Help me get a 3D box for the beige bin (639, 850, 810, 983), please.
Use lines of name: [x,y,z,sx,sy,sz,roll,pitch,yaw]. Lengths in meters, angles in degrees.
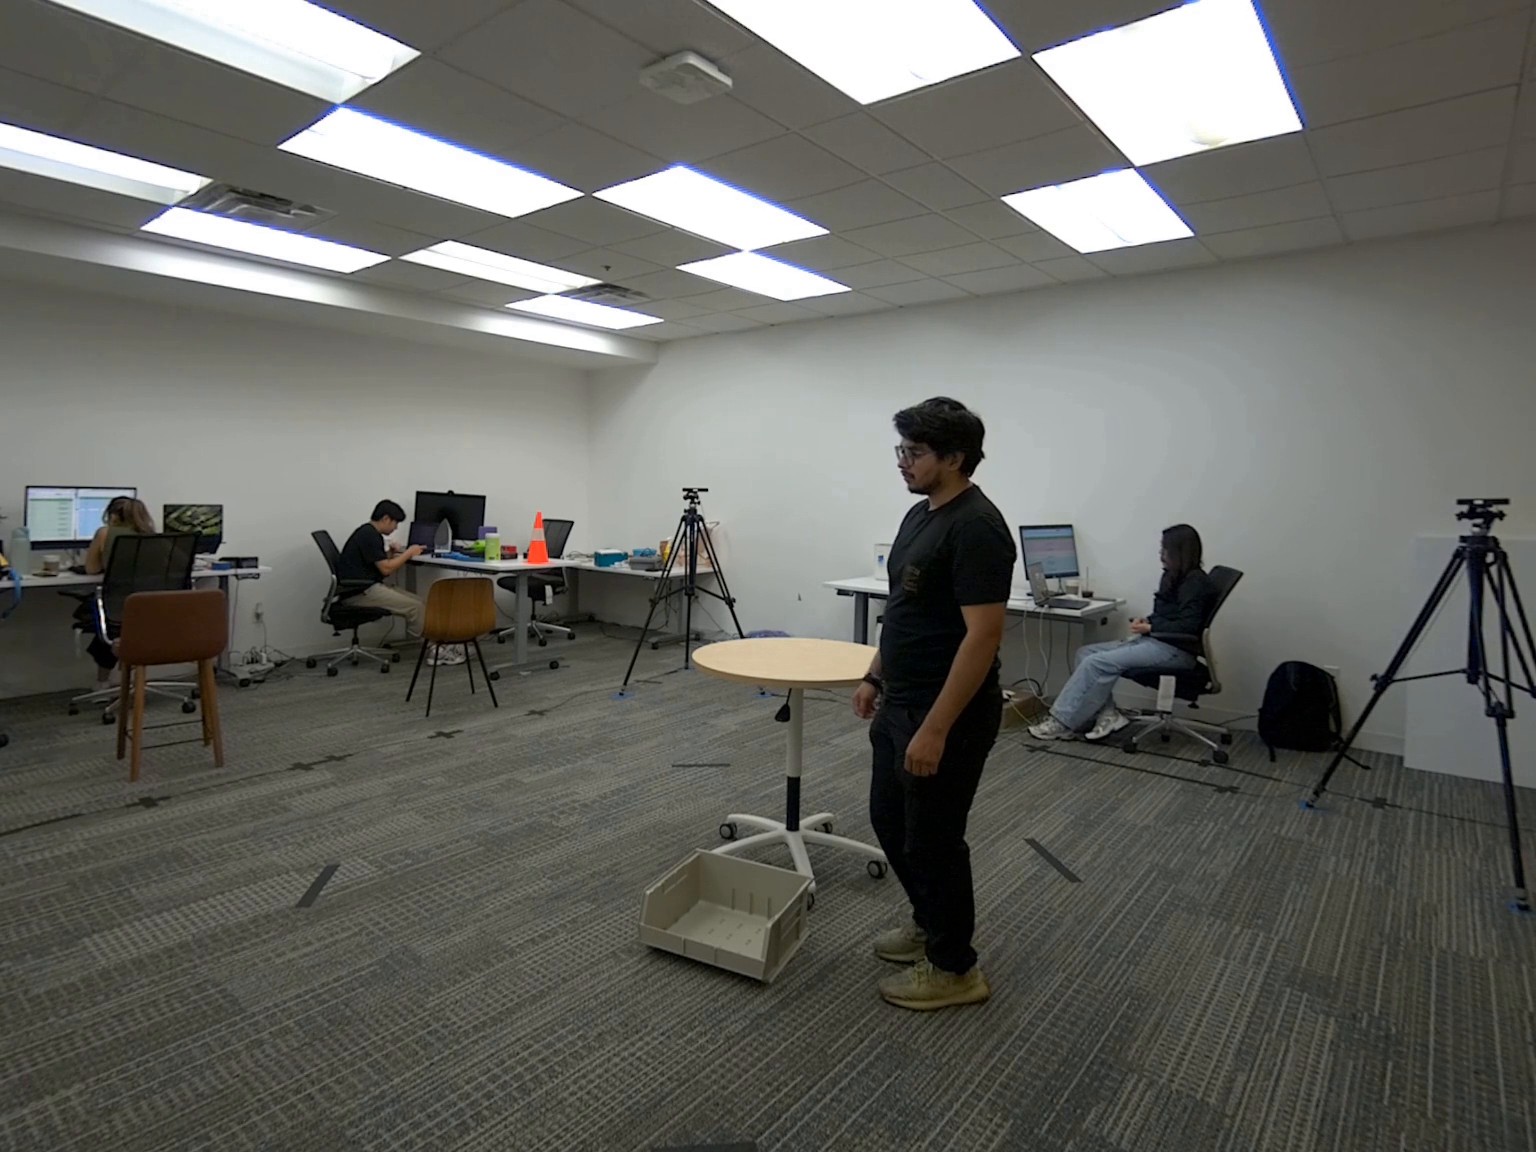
beige bin: [-0.128,1.033,2.600,0.433,0.188,0.369,3,5,25]
